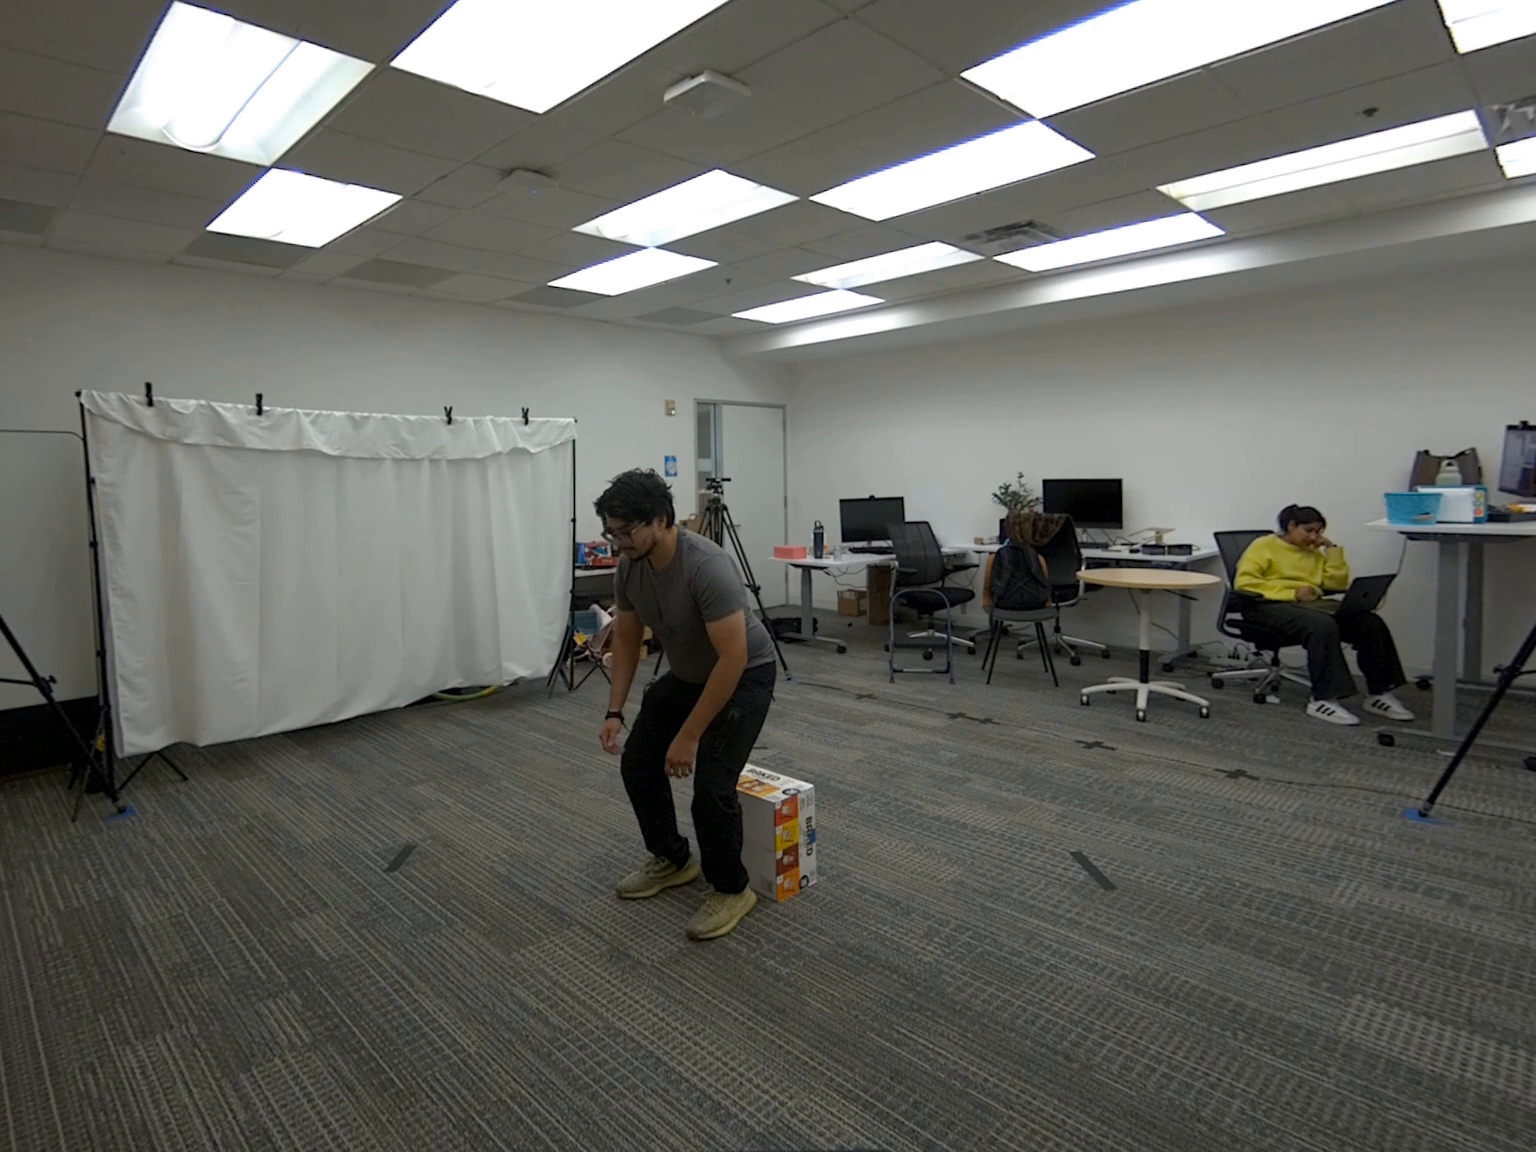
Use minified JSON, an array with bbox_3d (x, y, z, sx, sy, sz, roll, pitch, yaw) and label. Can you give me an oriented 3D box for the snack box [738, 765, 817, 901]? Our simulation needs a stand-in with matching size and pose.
[{"bbox_3d":[-0.046,0.883,3.016,0.200,0.339,0.418,-6,7,-44],"label":"snack box"}]
